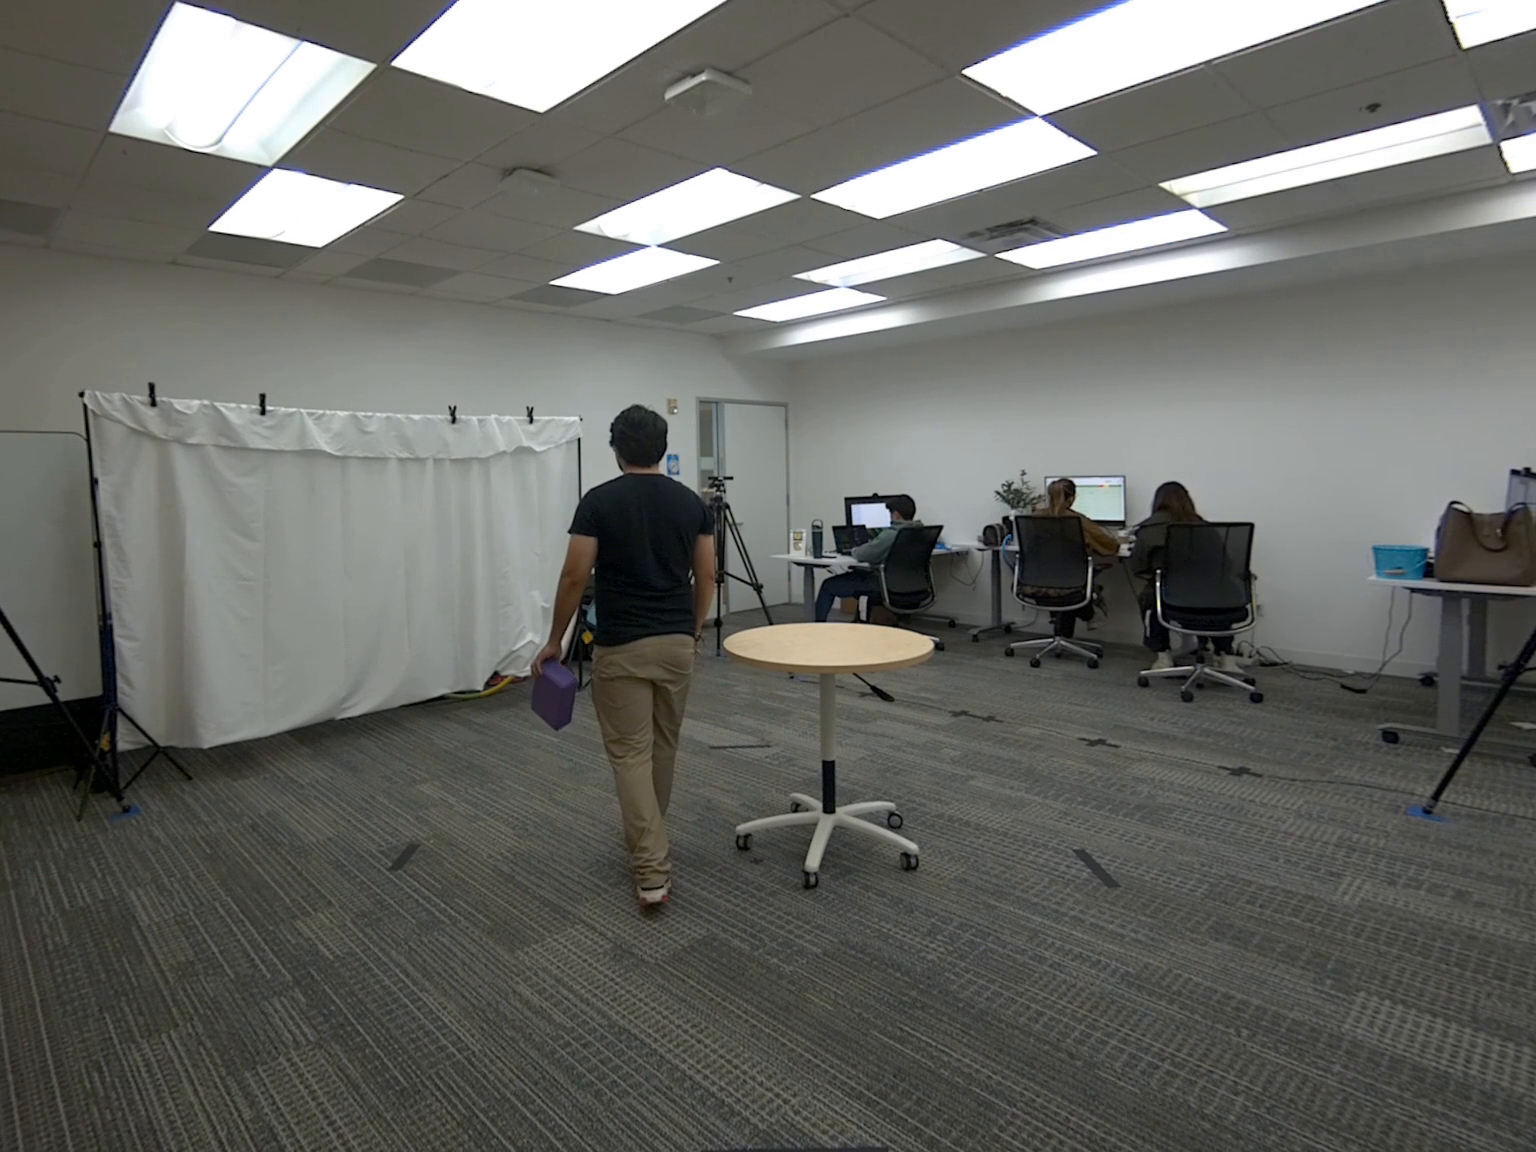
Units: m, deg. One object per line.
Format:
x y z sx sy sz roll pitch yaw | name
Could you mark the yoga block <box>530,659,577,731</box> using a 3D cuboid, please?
-0.747 0.414 3.004 0.153 0.225 0.075 36 39 25 | yoga block
